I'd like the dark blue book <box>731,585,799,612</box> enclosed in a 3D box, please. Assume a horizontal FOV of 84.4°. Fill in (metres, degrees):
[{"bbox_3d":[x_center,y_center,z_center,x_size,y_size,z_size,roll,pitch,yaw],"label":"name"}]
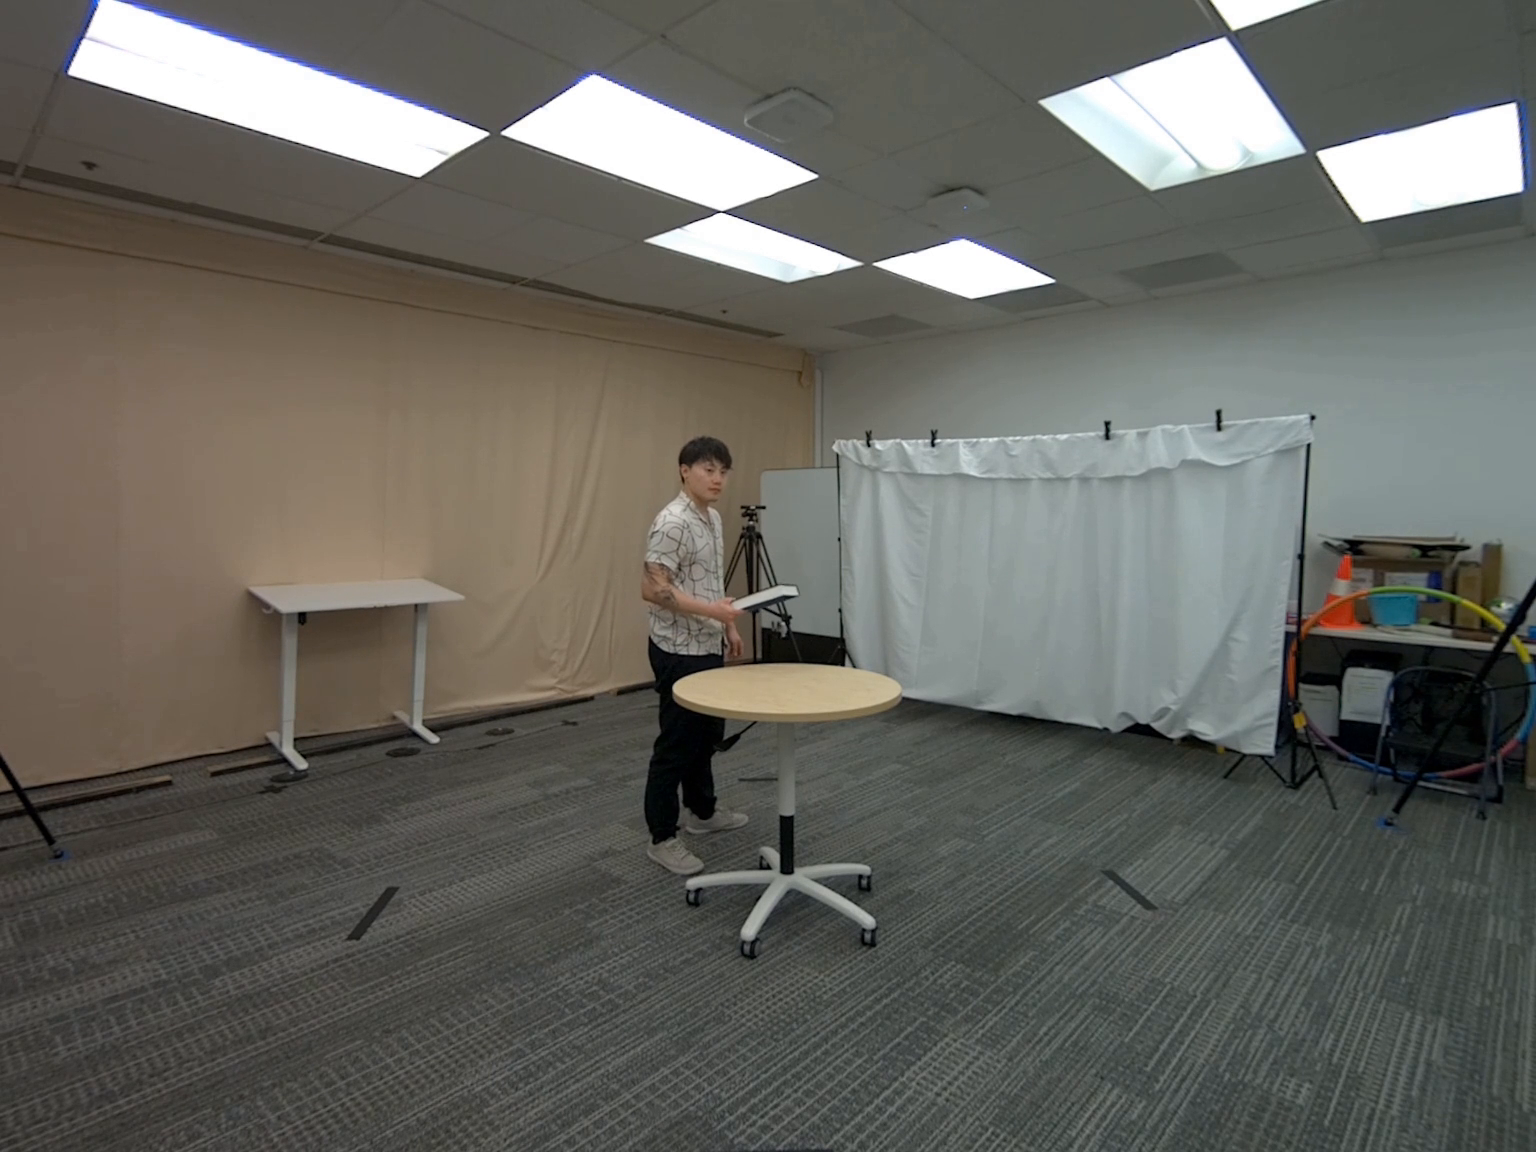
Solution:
[{"bbox_3d":[-0.020,0.086,3.178,0.249,0.045,0.159,-18,-9,20],"label":"dark blue book"}]
